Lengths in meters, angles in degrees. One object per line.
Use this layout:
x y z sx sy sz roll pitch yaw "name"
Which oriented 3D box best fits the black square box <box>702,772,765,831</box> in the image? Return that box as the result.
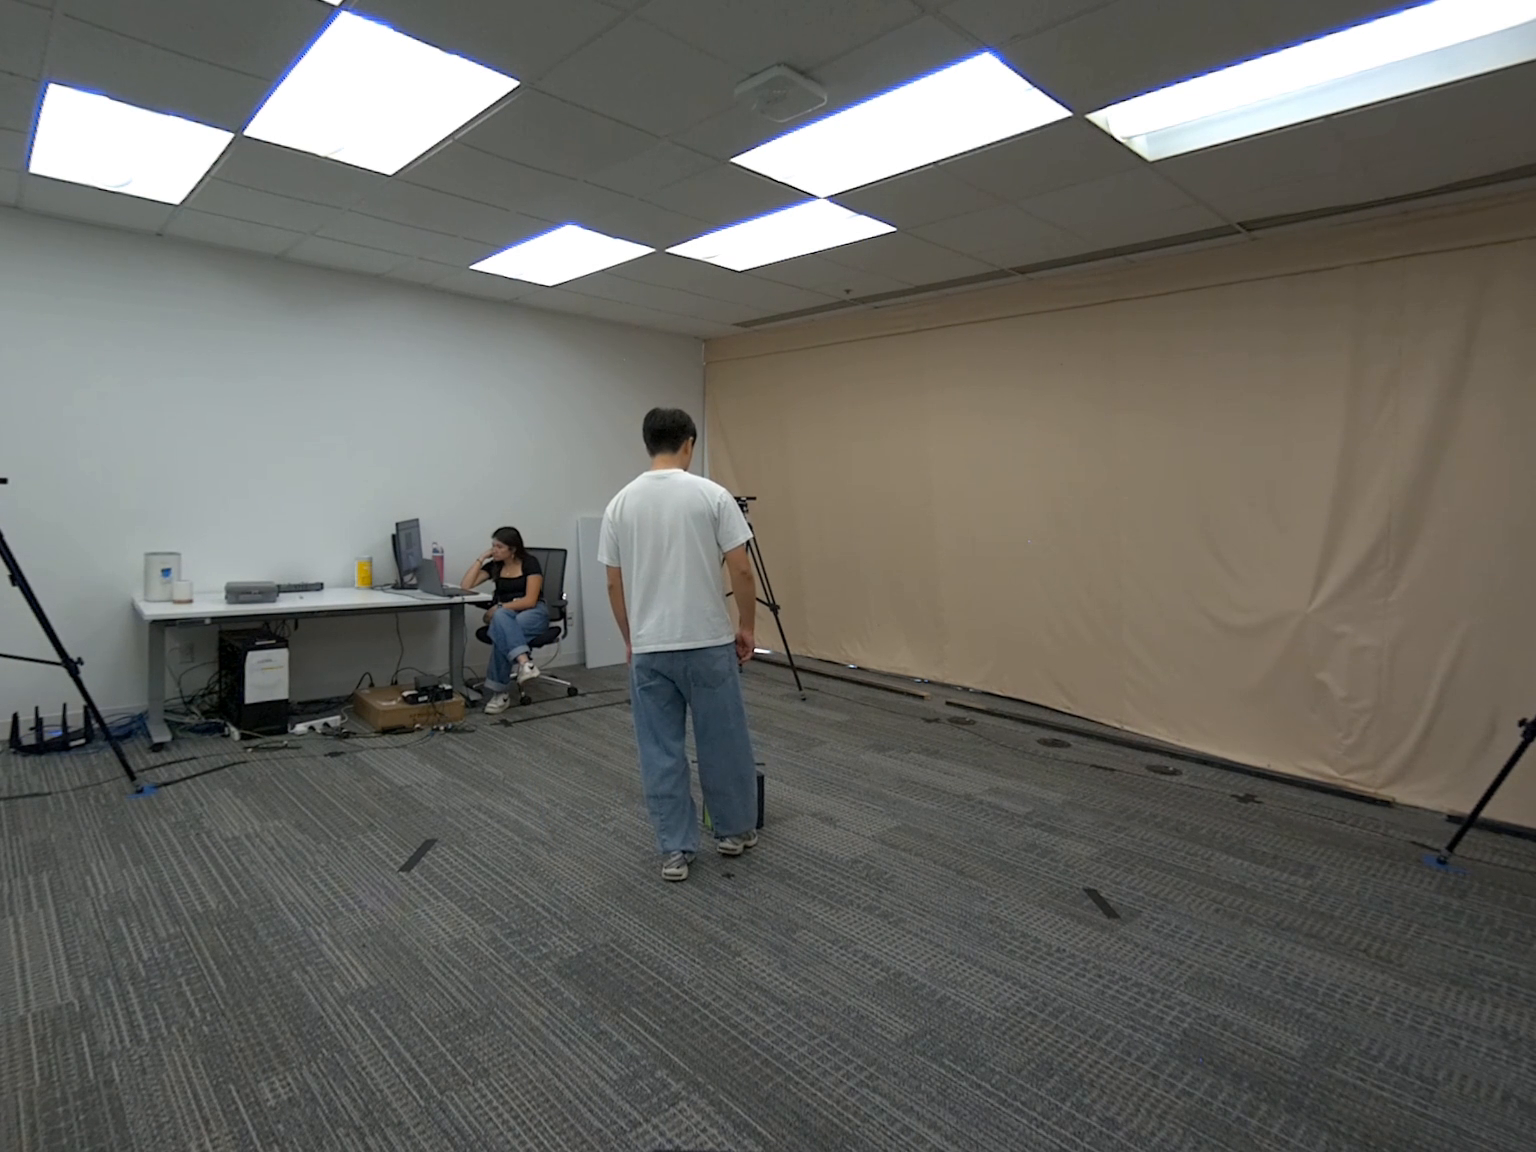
-0.149 0.947 3.575 0.212 0.227 0.159 0 3 -30 "black square box"
